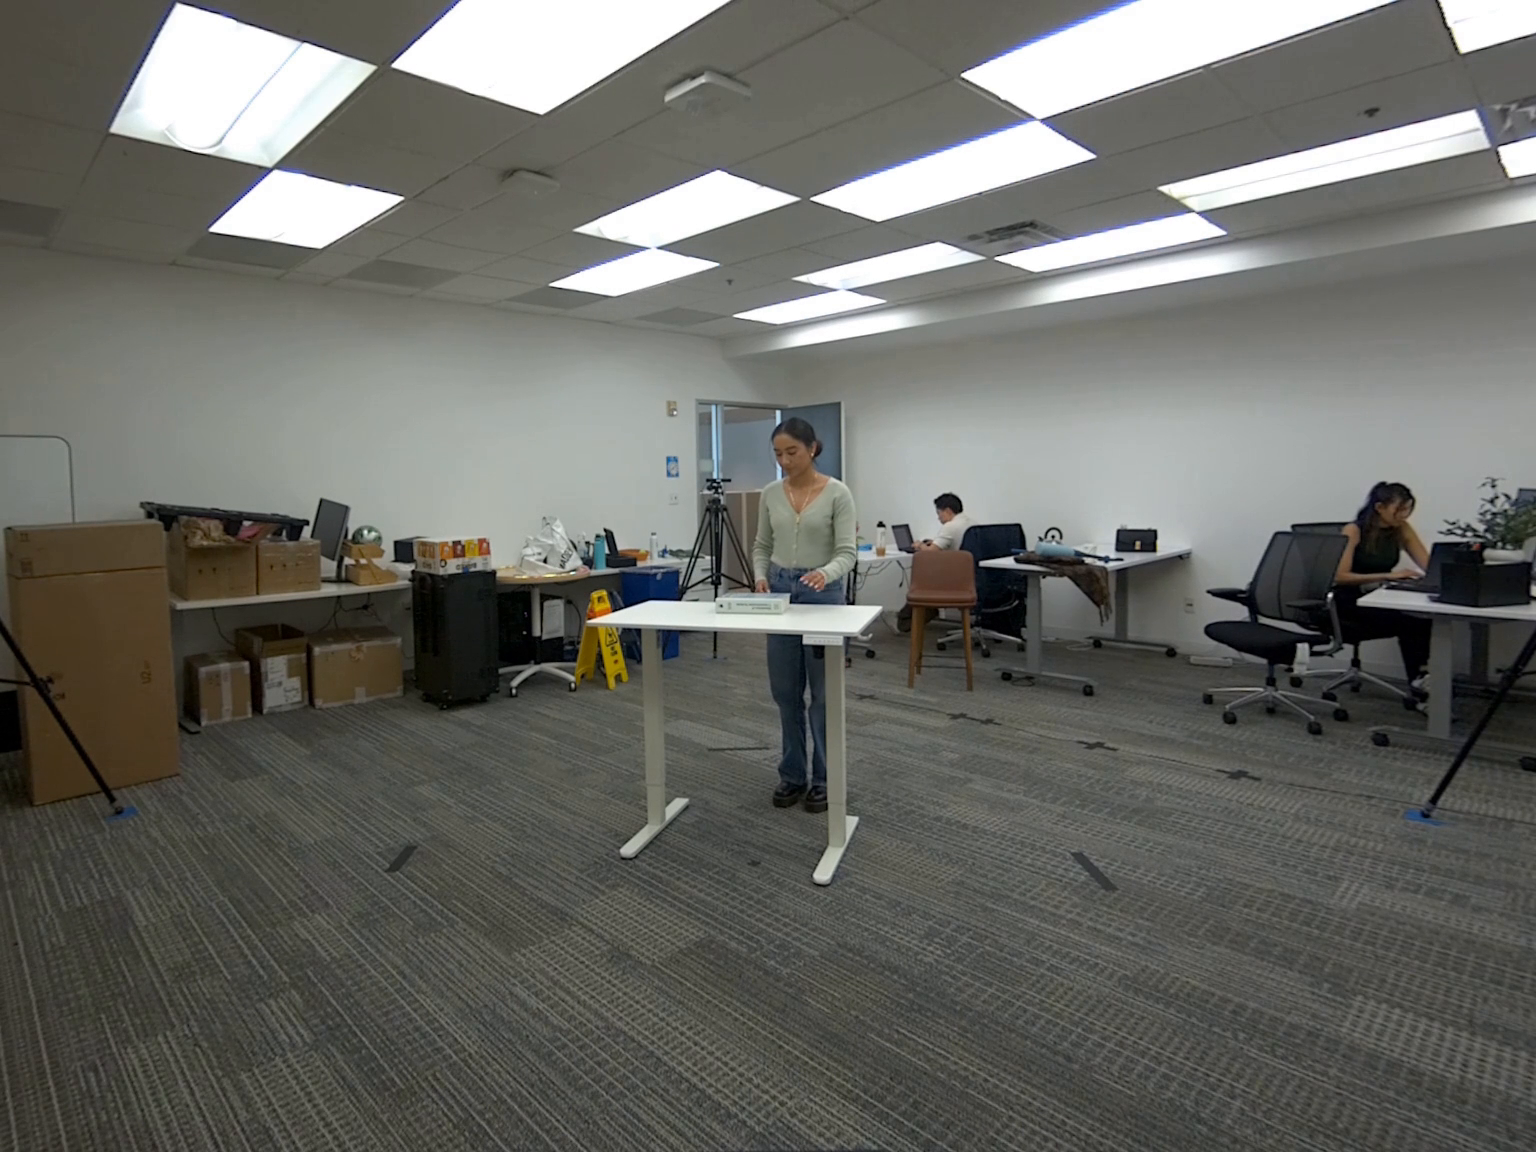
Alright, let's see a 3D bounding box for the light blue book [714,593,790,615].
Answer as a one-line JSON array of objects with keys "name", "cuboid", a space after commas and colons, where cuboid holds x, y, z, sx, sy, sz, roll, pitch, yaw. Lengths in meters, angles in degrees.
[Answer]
[{"name": "light blue book", "cuboid": [-0.059, 0.106, 3.348, 0.264, 0.059, 0.189, 2, 5, 12]}]
